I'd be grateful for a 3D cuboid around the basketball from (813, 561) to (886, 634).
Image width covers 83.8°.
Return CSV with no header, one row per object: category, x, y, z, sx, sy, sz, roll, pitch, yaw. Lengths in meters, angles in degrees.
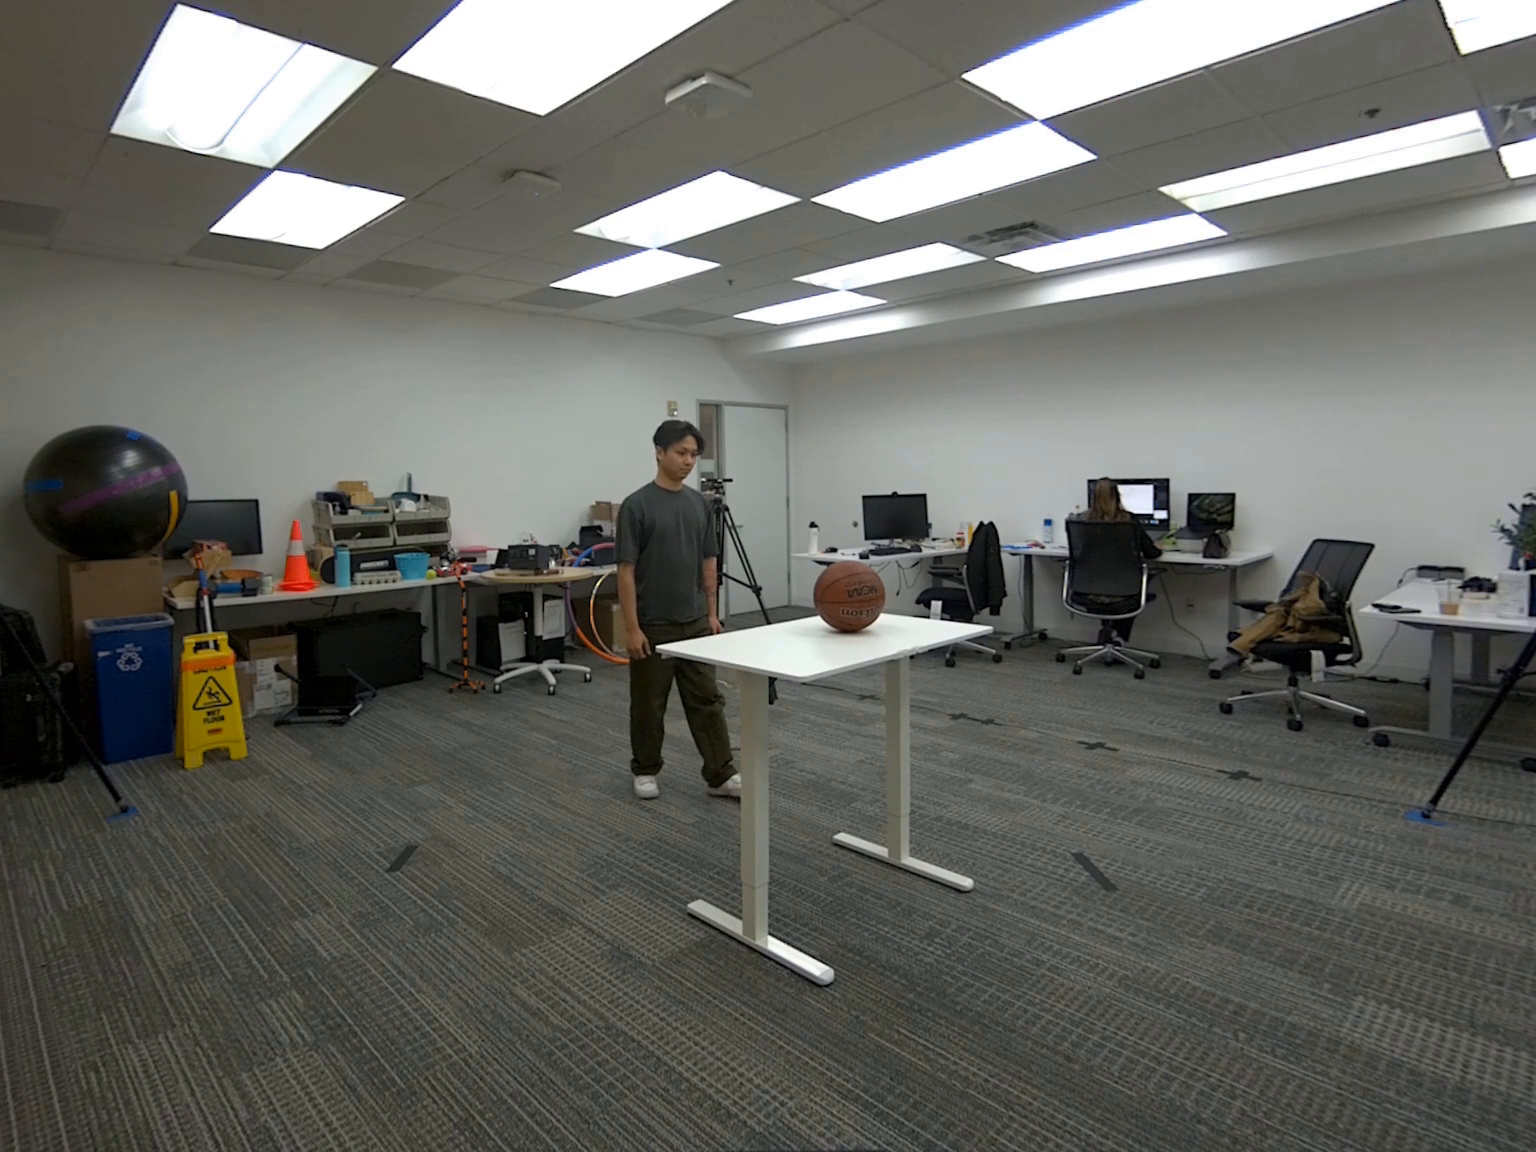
basketball,0.272,0.066,2.859,0.236,0.235,0.237,-1,5,-2
